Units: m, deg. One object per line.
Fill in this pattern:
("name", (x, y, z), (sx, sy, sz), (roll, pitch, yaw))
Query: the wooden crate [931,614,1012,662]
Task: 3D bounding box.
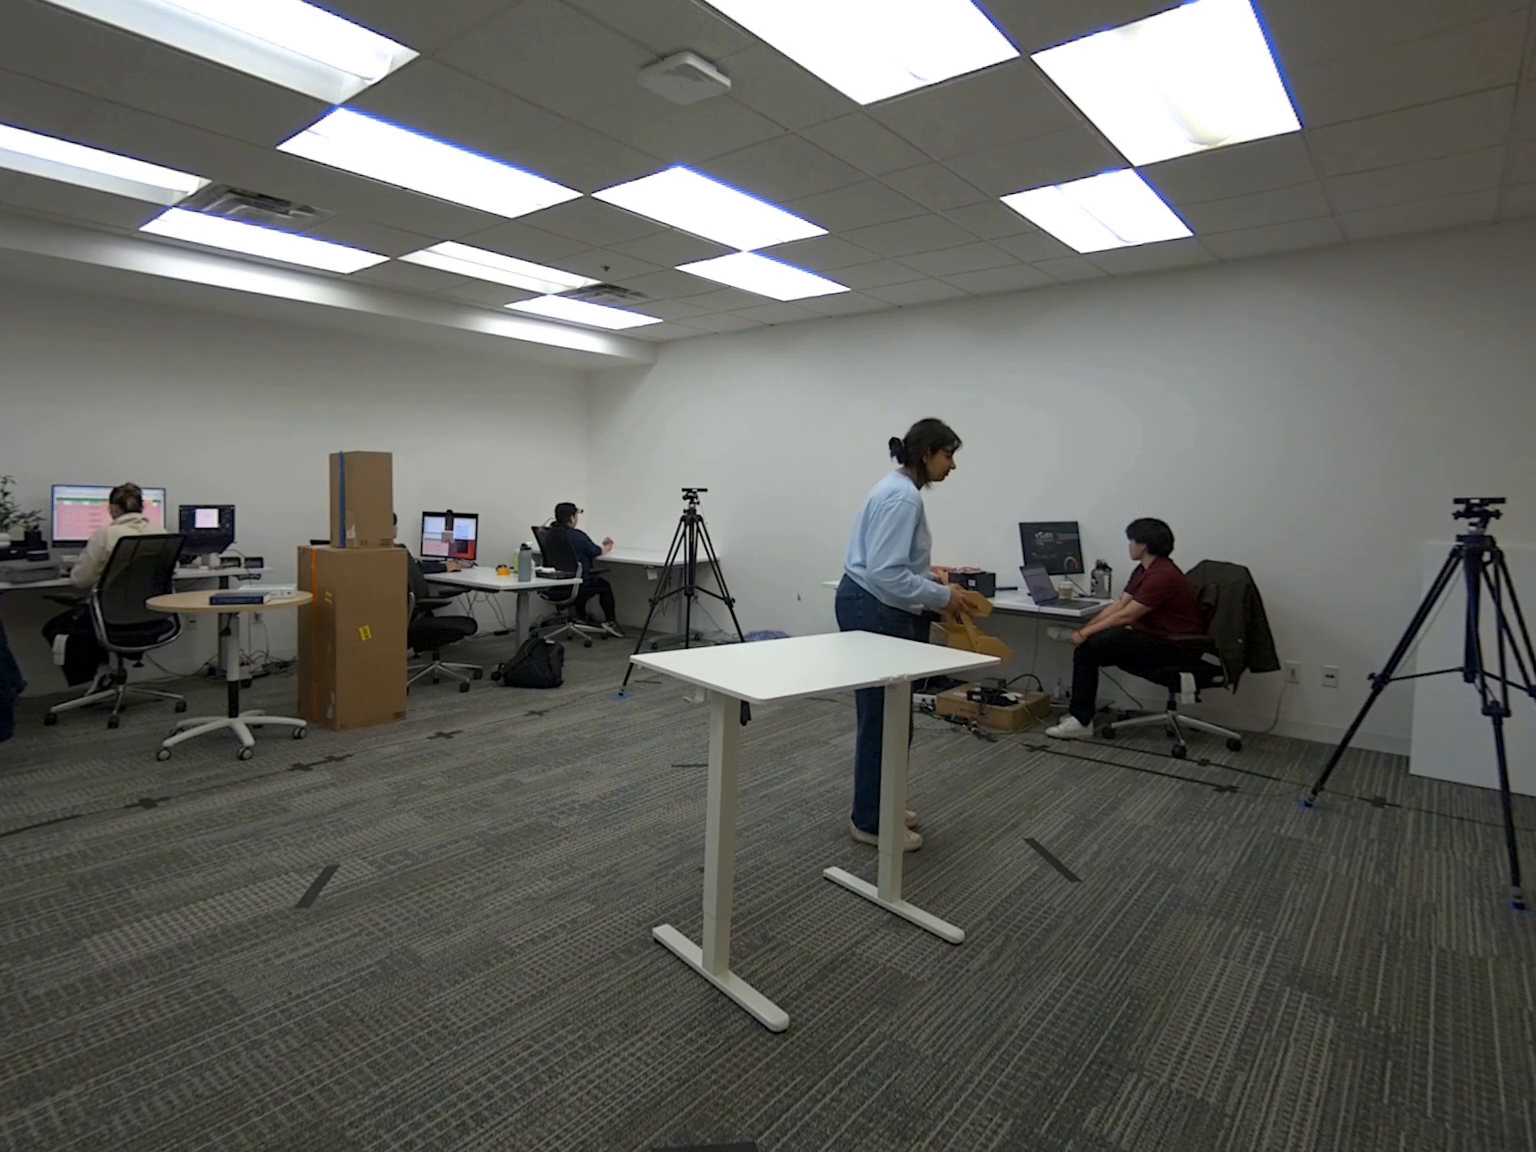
("wooden crate", (0.782, 0.168, 3.385), (0.301, 0.273, 0.326), (6, 3, -2))
